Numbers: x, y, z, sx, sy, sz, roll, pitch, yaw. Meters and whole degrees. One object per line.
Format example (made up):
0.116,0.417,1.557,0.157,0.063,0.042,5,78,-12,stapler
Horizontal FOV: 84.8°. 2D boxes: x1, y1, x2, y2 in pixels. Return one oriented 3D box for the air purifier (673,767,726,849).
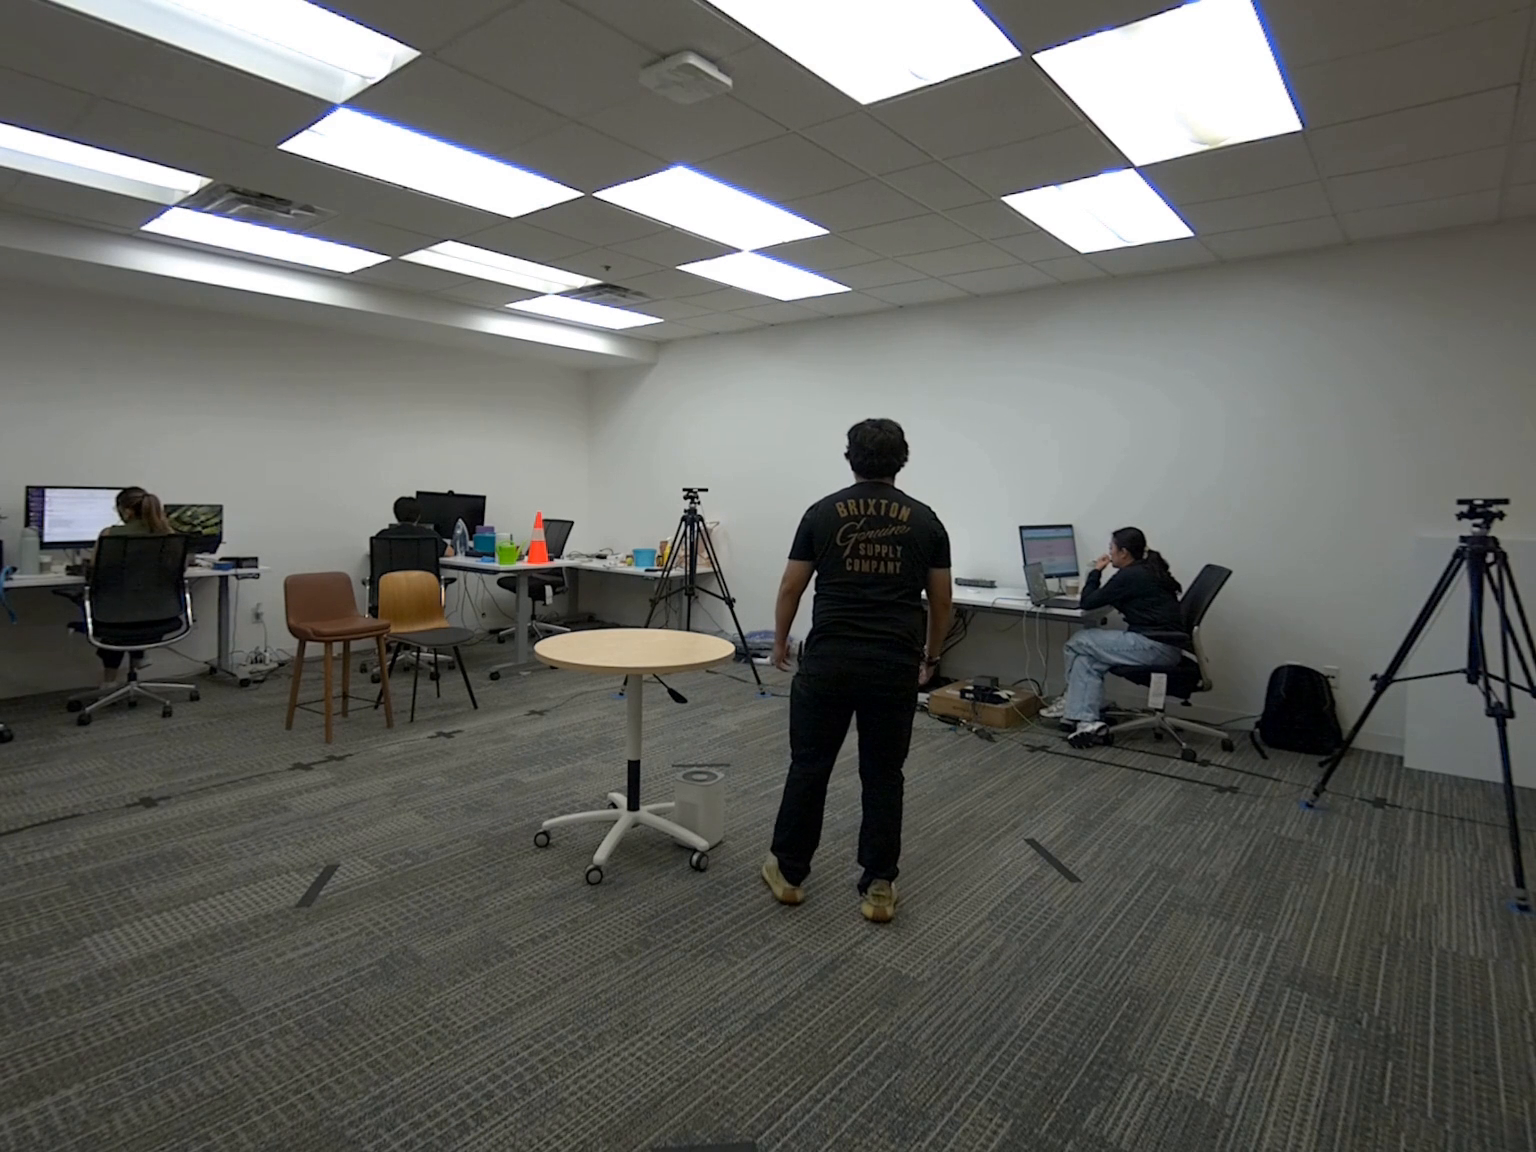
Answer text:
-0.276,0.913,3.339,0.176,0.265,0.167,2,4,27,air purifier
